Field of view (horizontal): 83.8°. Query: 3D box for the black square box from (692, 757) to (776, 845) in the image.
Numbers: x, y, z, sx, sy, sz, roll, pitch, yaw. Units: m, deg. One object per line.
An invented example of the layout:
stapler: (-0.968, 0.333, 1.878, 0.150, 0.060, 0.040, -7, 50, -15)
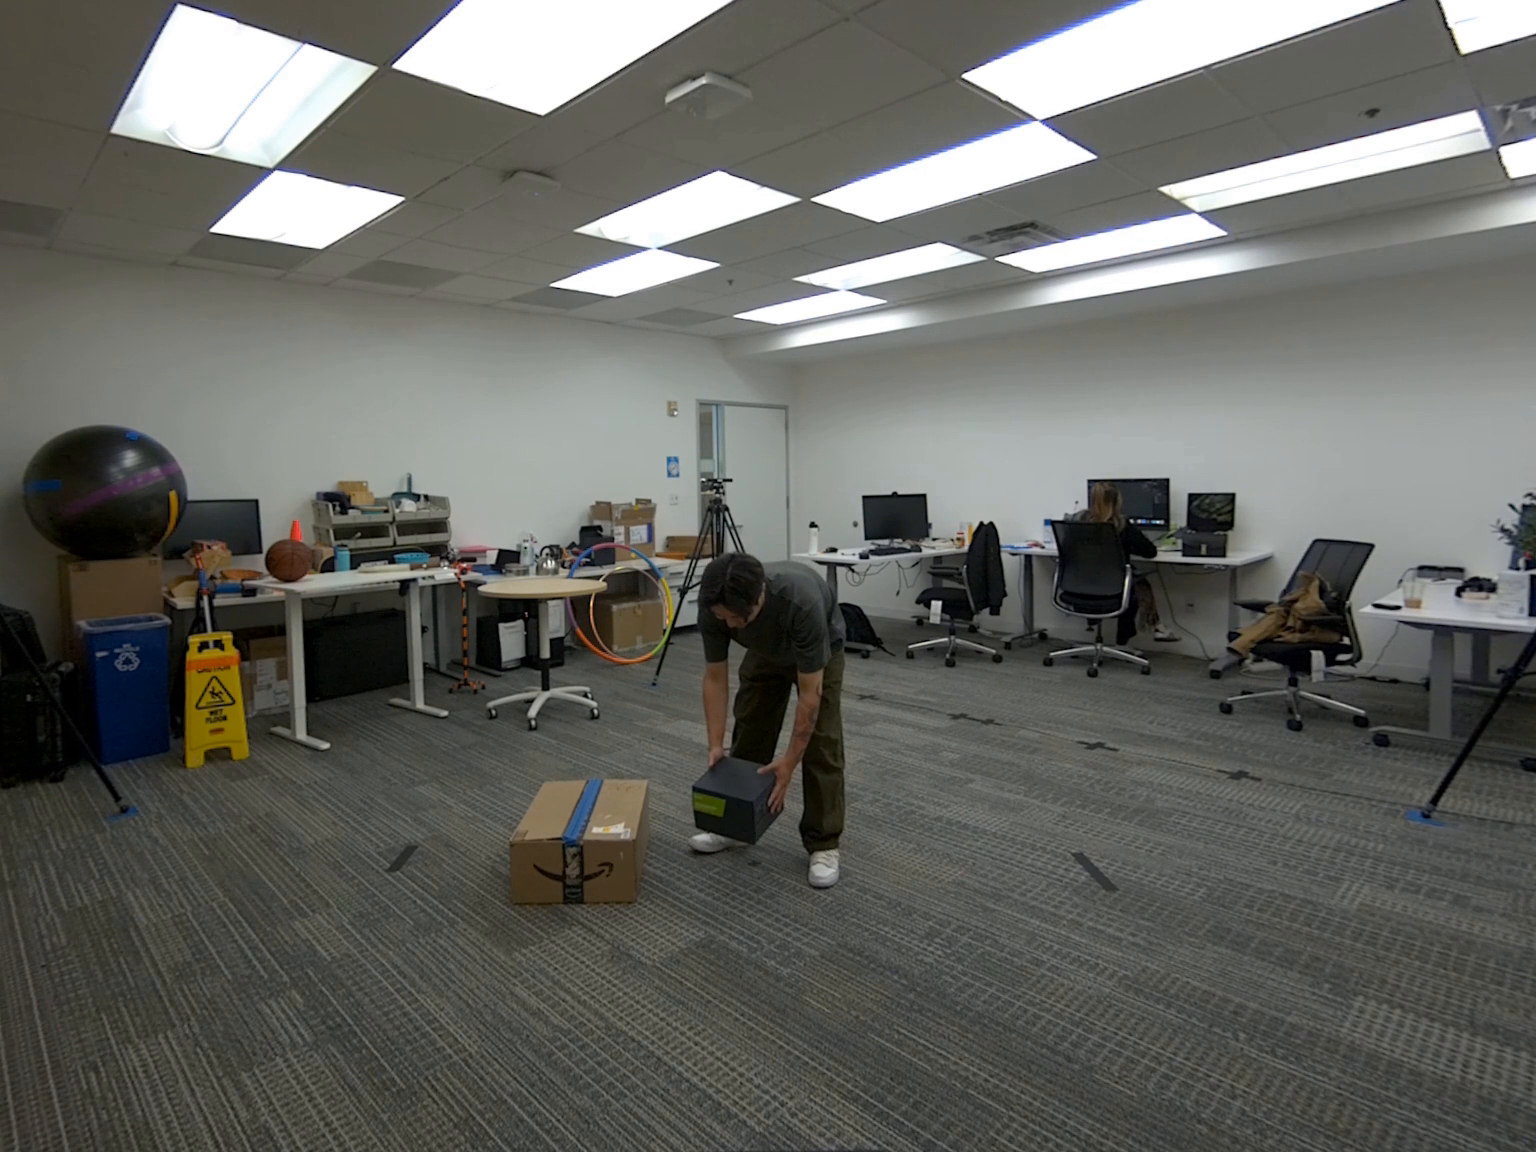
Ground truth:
black square box: (-0.099, 0.739, 2.818, 0.234, 0.154, 0.214, 6, 18, 27)
